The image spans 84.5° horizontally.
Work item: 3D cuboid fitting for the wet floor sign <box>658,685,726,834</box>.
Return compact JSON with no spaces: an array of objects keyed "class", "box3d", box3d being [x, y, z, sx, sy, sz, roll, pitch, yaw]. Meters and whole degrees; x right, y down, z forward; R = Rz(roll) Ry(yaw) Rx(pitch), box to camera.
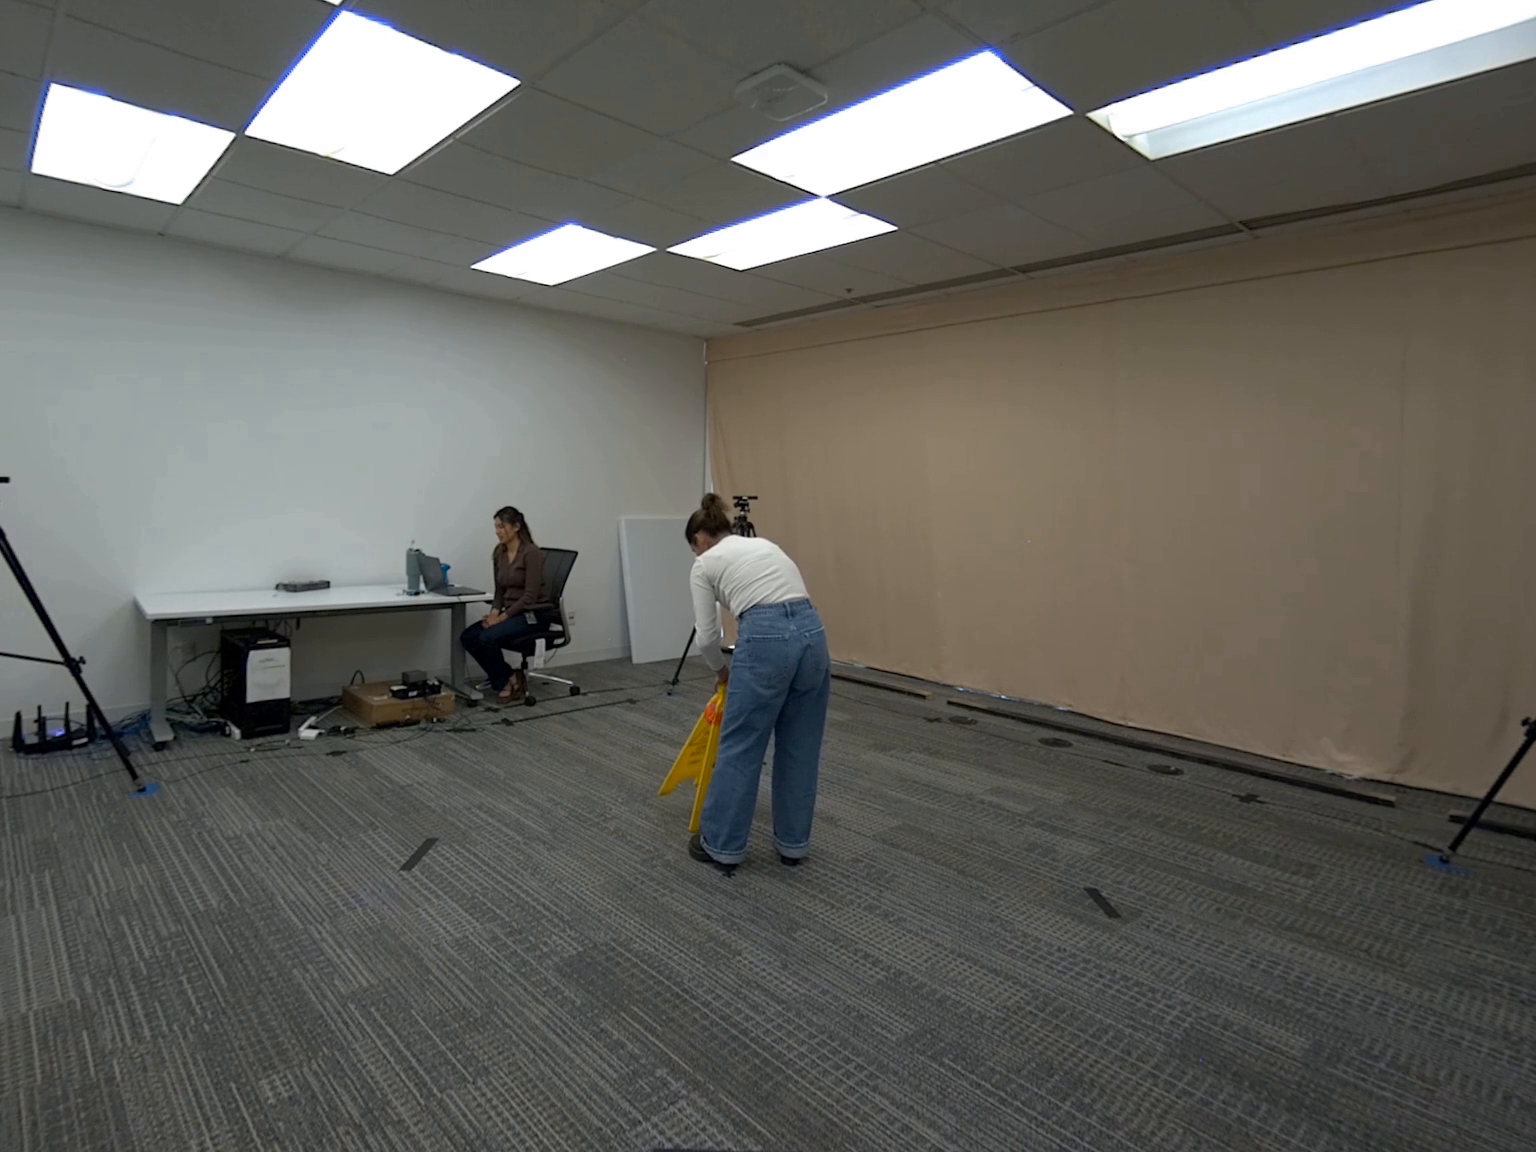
[{"class":"wet floor sign","box3d":[-0.210,0.719,3.548,0.276,0.640,0.299,-2,28,-43]}]
